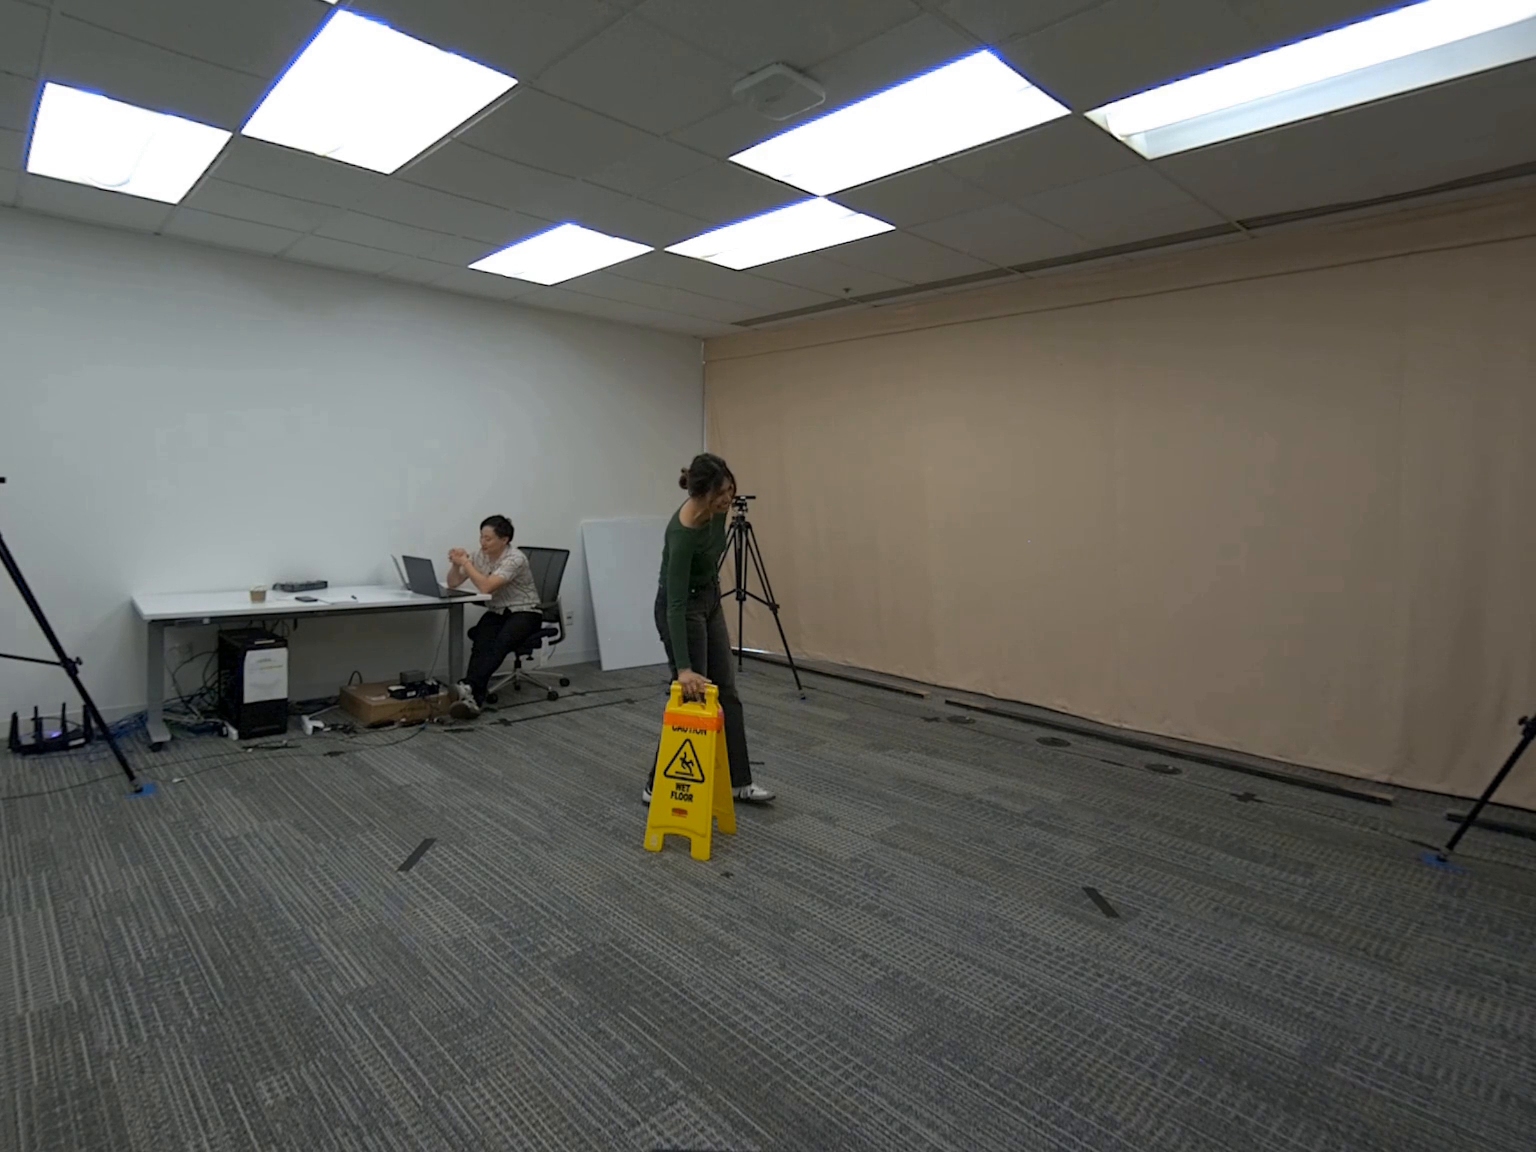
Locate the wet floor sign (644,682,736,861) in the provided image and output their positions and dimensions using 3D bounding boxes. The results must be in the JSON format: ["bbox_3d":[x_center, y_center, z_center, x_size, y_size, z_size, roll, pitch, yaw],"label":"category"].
[{"bbox_3d":[-0.319,0.751,3.385,0.287,0.644,0.286,1,4,21],"label":"wet floor sign"}]
